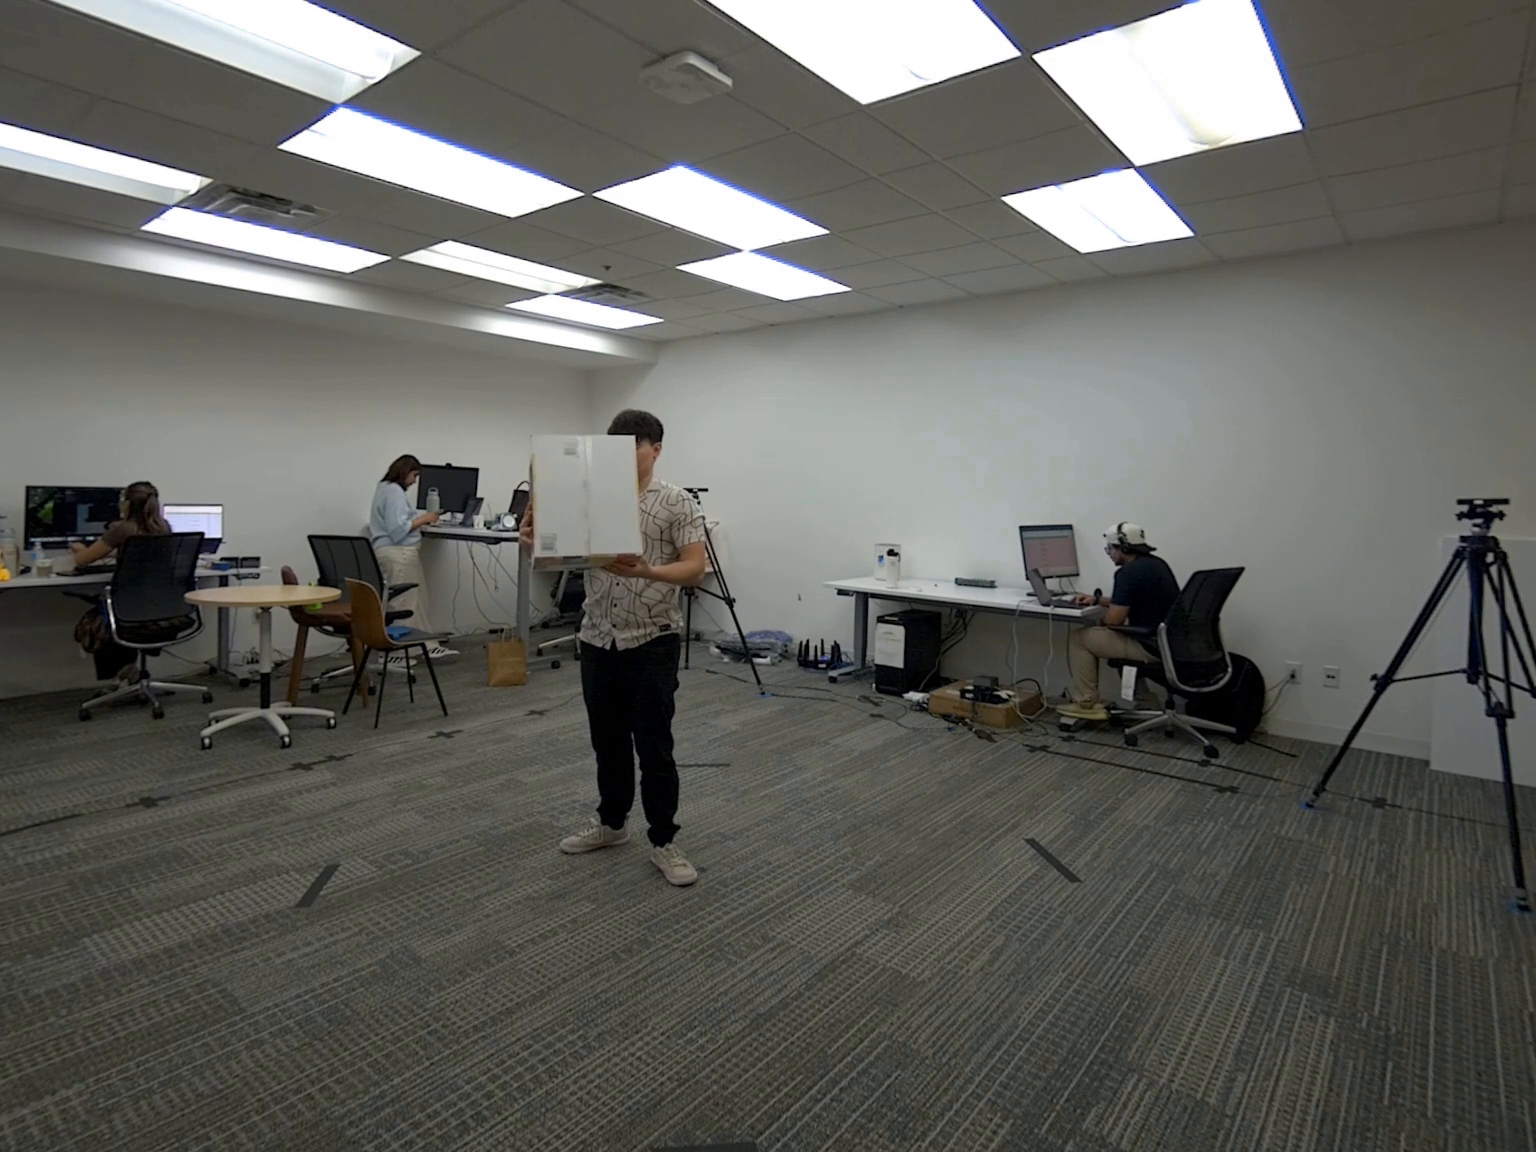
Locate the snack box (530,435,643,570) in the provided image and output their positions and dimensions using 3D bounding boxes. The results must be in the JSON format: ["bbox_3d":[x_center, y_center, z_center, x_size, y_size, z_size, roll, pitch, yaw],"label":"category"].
[{"bbox_3d":[-0.612,-0.240,2.776,0.335,0.411,0.206,-2,-14,-16],"label":"snack box"}]
